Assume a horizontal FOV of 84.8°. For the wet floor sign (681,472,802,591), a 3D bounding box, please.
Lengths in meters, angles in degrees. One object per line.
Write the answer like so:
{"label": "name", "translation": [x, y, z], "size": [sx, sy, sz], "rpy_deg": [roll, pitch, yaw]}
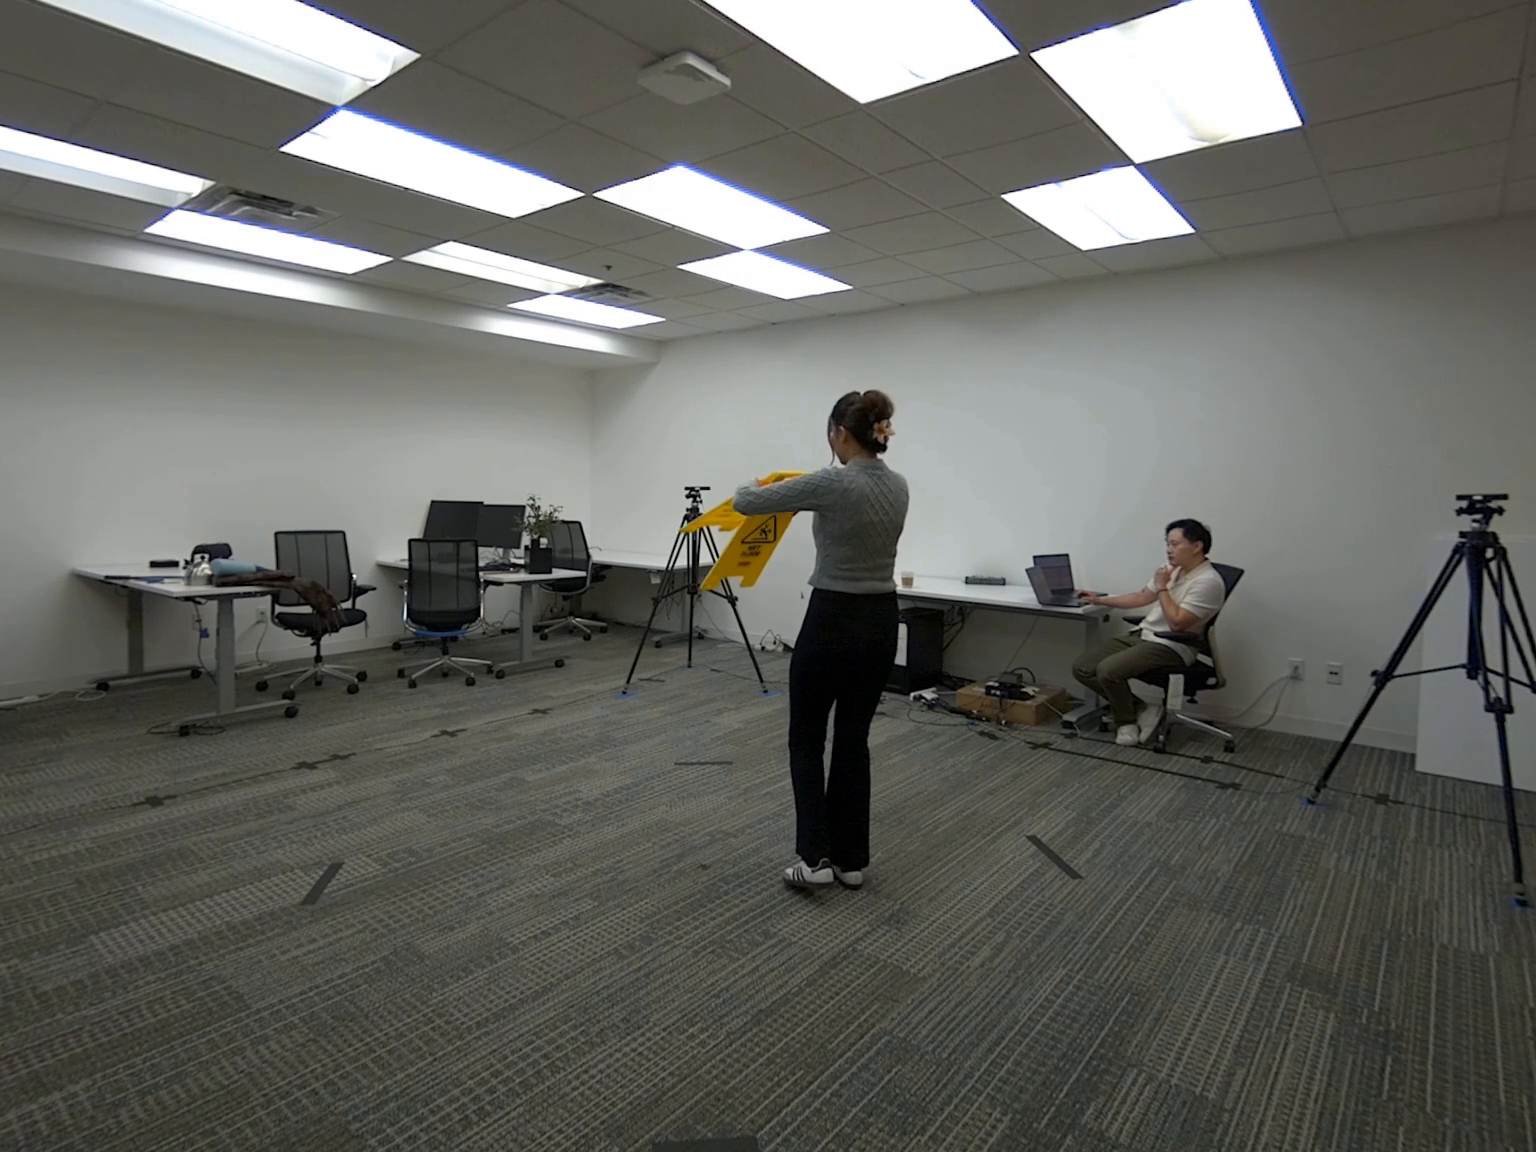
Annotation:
{"label": "wet floor sign", "translation": [-0.073, -0.237, 3.439], "size": [0.274, 0.298, 0.647], "rpy_deg": [-3, -29, -38]}
